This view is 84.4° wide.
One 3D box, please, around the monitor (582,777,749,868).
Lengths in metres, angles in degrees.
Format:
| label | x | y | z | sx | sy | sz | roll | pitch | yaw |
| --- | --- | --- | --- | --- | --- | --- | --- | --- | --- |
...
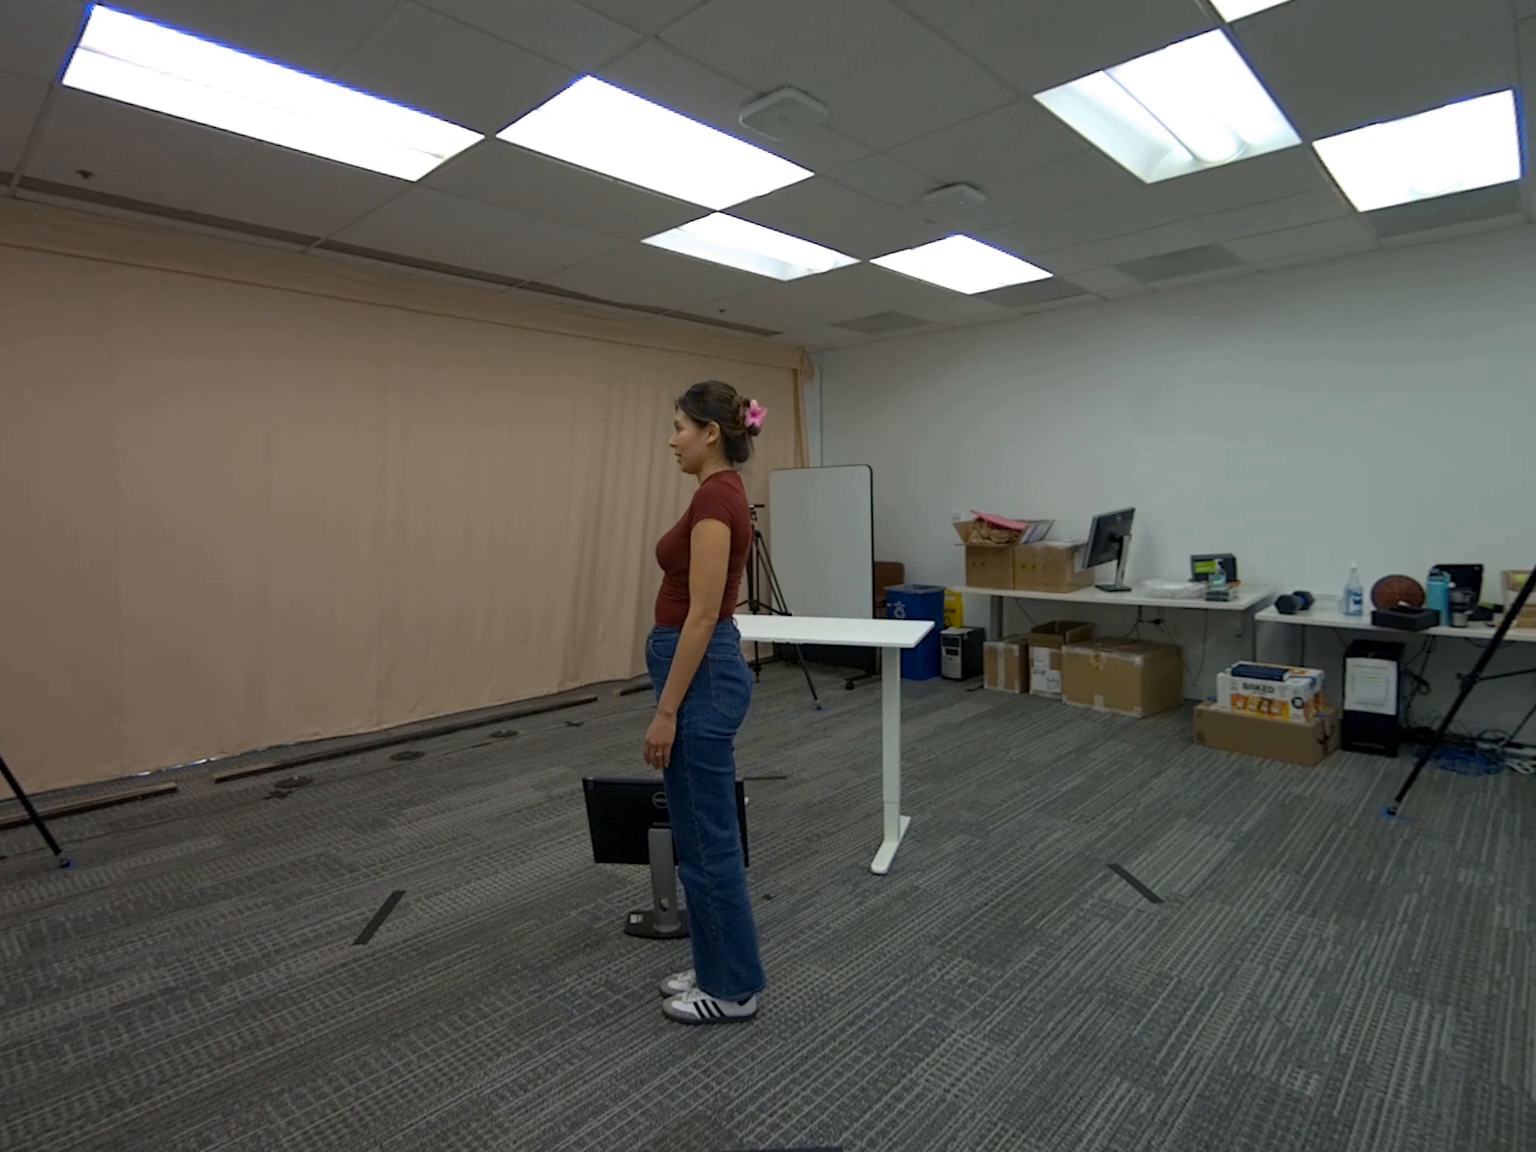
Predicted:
| label | x | y | z | sx | sy | sz | roll | pitch | yaw |
| --- | --- | --- | --- | --- | --- | --- | --- | --- | --- |
| monitor | -0.342 | 0.918 | 2.764 | 0.543 | 0.520 | 0.186 | 0 | 6 | 7 |
